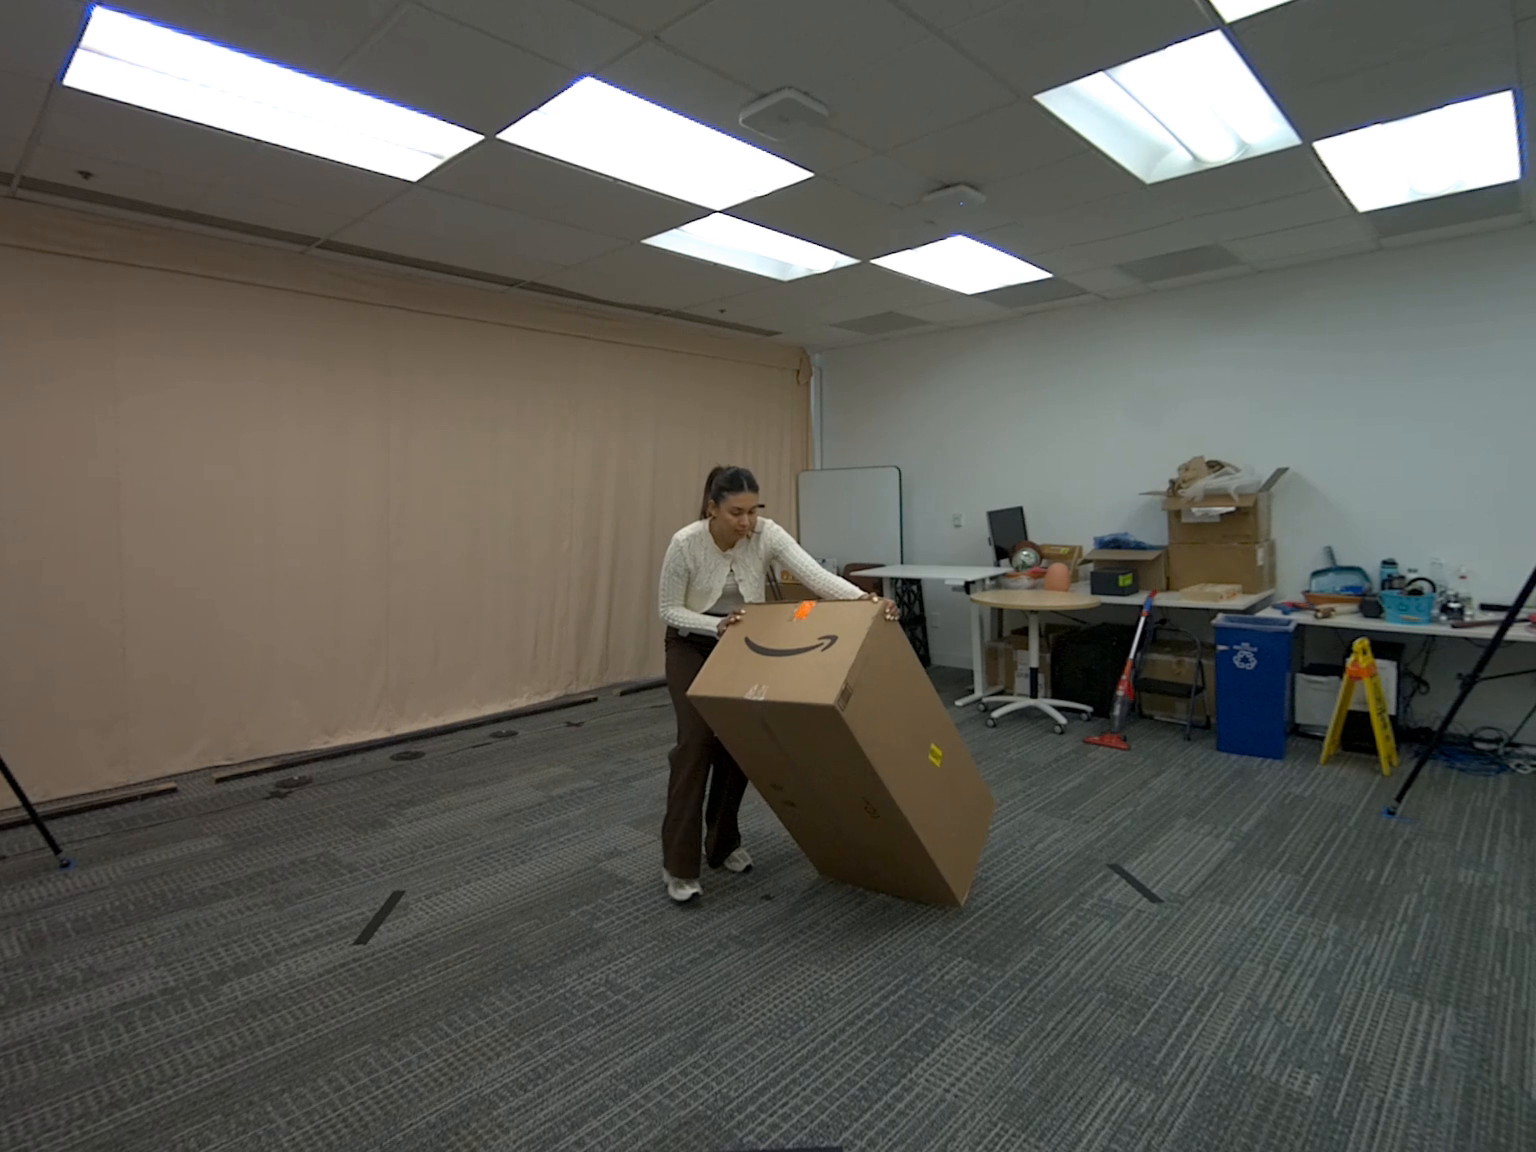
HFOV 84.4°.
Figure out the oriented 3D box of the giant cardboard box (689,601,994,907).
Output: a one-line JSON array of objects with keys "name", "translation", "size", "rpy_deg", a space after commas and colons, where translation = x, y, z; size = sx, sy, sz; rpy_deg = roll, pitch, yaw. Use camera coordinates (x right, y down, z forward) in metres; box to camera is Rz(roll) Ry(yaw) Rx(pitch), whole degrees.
[{"name": "giant cardboard box", "translation": [0.283, 0.603, 2.864], "size": [0.595, 0.998, 0.425], "rpy_deg": [-5, 38, 40]}]
